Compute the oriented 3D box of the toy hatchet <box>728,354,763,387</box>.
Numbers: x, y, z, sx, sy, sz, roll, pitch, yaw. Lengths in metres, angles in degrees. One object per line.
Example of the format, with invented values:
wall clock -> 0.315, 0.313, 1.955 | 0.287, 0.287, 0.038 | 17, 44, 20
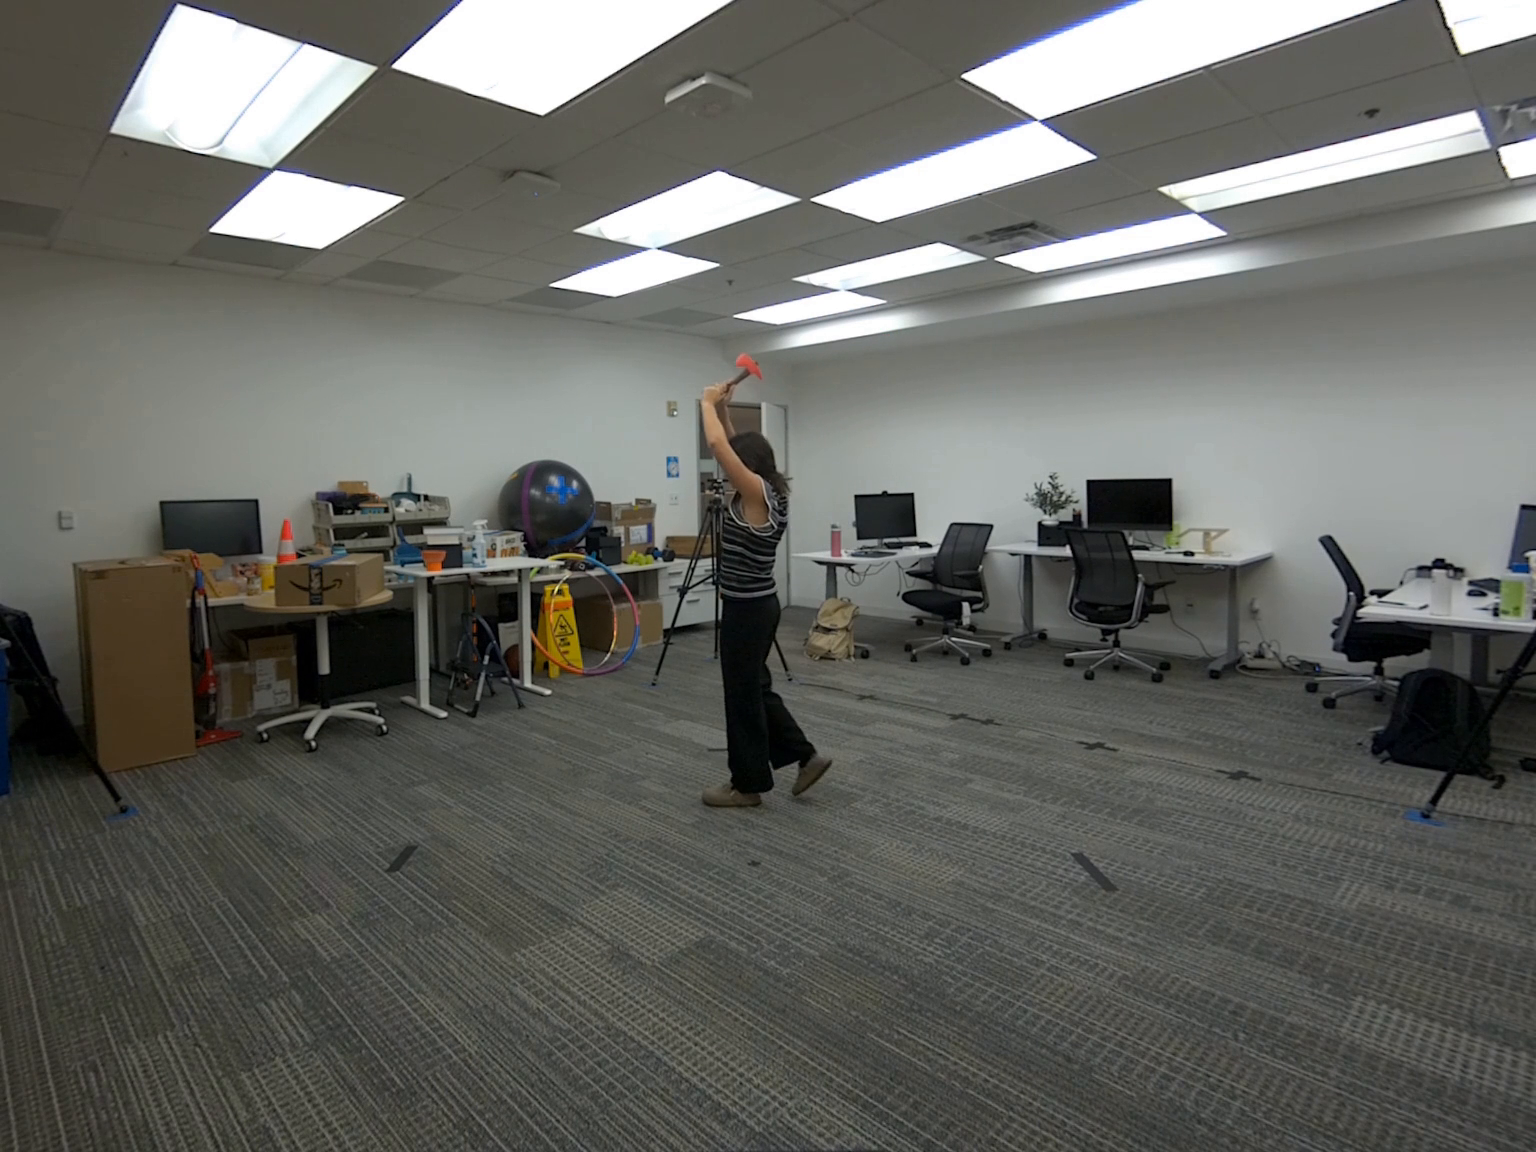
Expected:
toy hatchet -> -0.163, -0.831, 3.548 | 0.269, 0.129, 0.030 | -22, 13, -7
